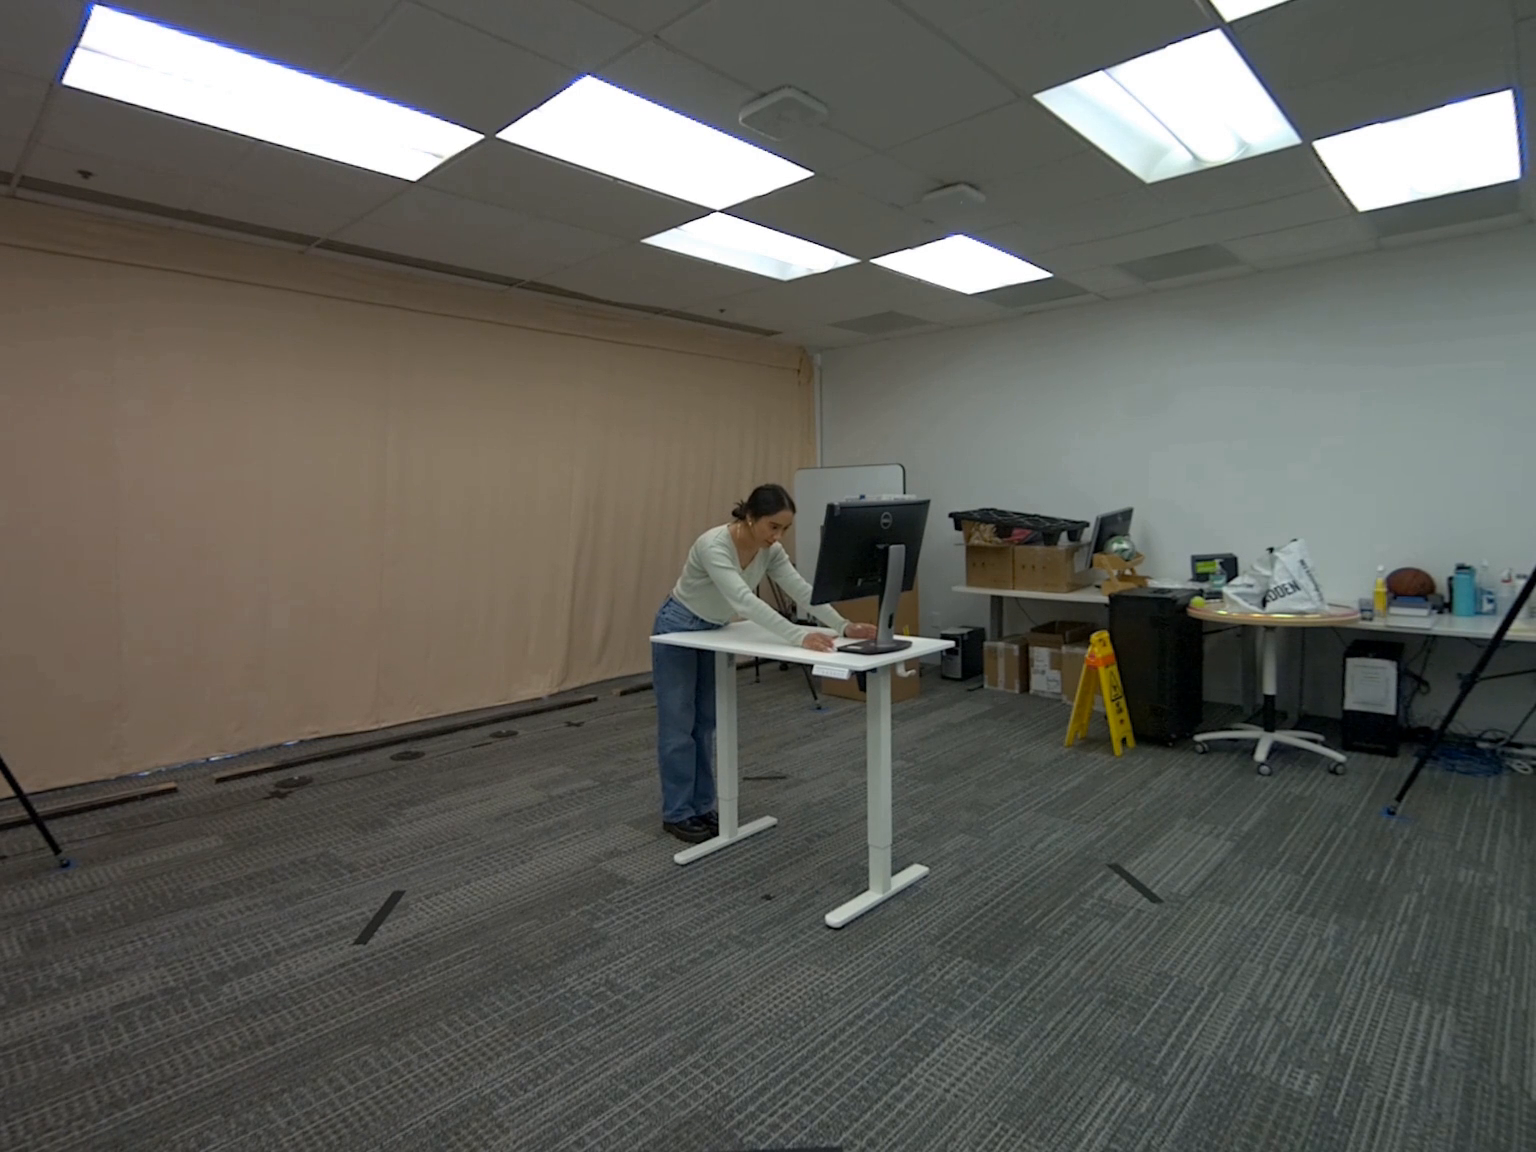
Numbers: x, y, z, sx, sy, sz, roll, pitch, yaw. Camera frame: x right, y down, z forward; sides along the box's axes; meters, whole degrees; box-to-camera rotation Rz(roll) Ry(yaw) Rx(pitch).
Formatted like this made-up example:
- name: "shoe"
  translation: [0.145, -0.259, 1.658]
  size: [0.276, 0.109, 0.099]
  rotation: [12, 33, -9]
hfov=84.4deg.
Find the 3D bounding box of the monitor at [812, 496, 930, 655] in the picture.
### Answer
- name: "monitor"
  translation: [0.402, 0.000, 2.913]
  size: [0.523, 0.520, 0.193]
  rotation: [-6, 8, -43]
